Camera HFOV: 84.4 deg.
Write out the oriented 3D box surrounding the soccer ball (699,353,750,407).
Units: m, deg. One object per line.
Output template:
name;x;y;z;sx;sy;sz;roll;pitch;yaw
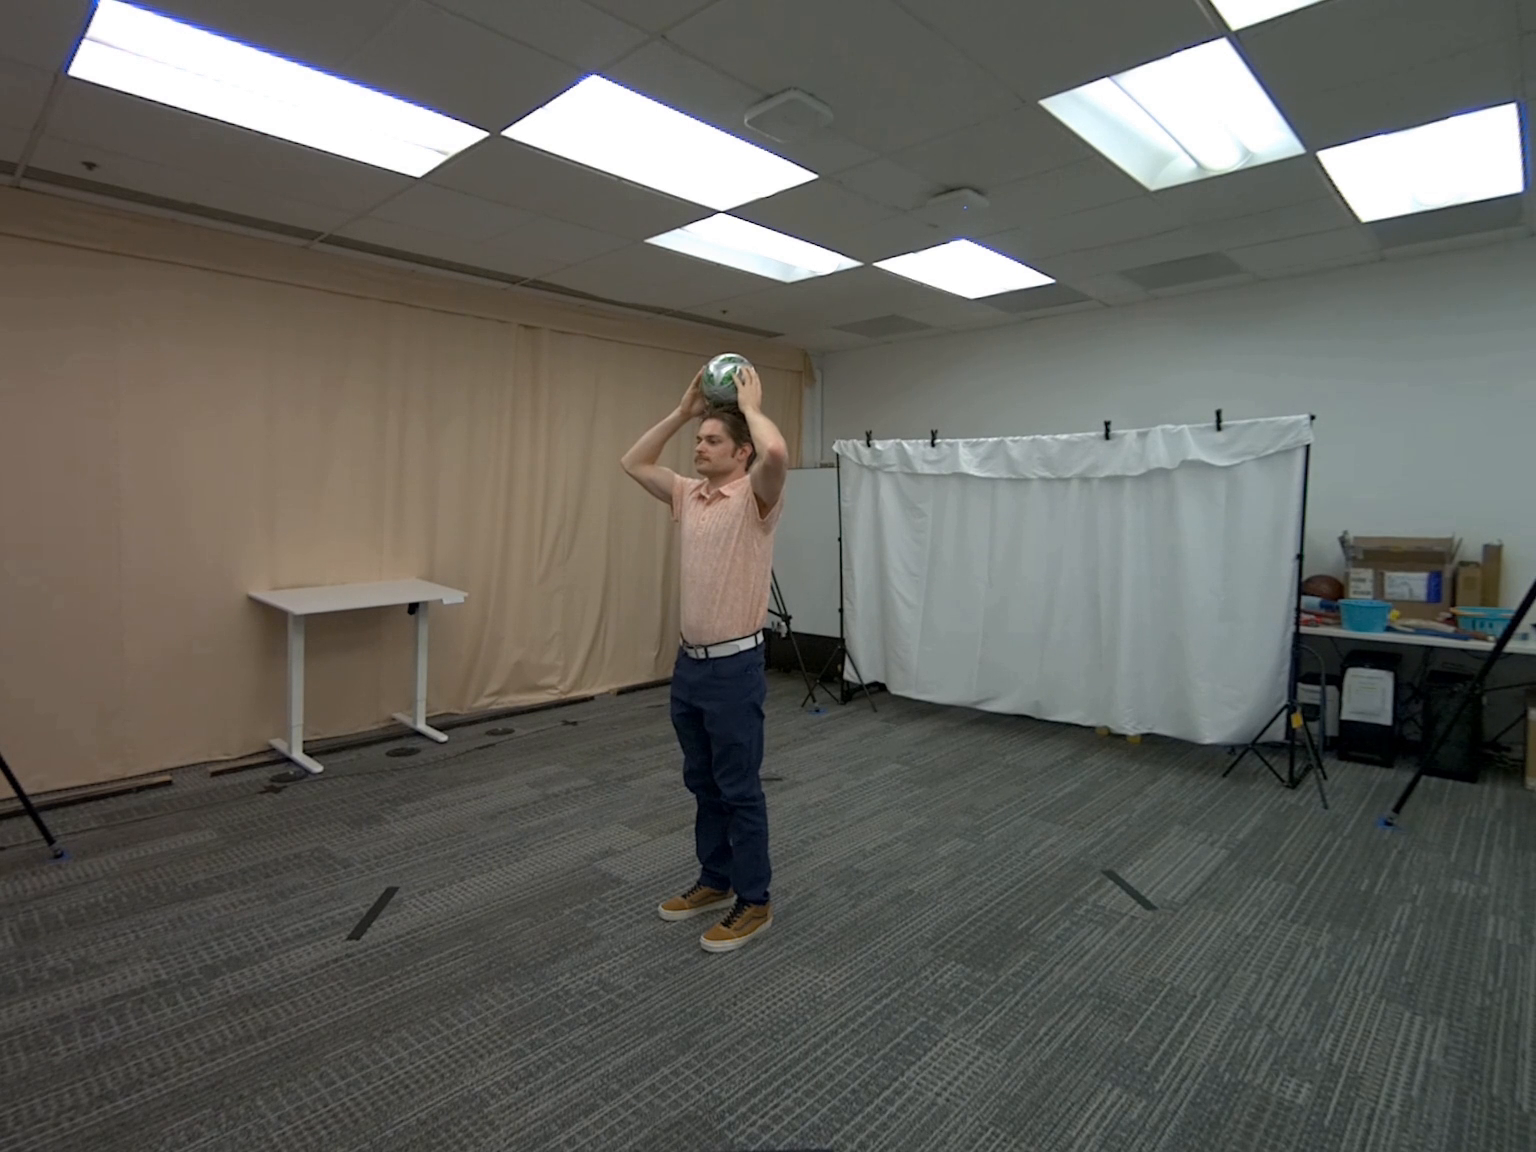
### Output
soccer ball;-0.122;-0.629;2.768;0.187;0.187;0.188;0;4;-2
